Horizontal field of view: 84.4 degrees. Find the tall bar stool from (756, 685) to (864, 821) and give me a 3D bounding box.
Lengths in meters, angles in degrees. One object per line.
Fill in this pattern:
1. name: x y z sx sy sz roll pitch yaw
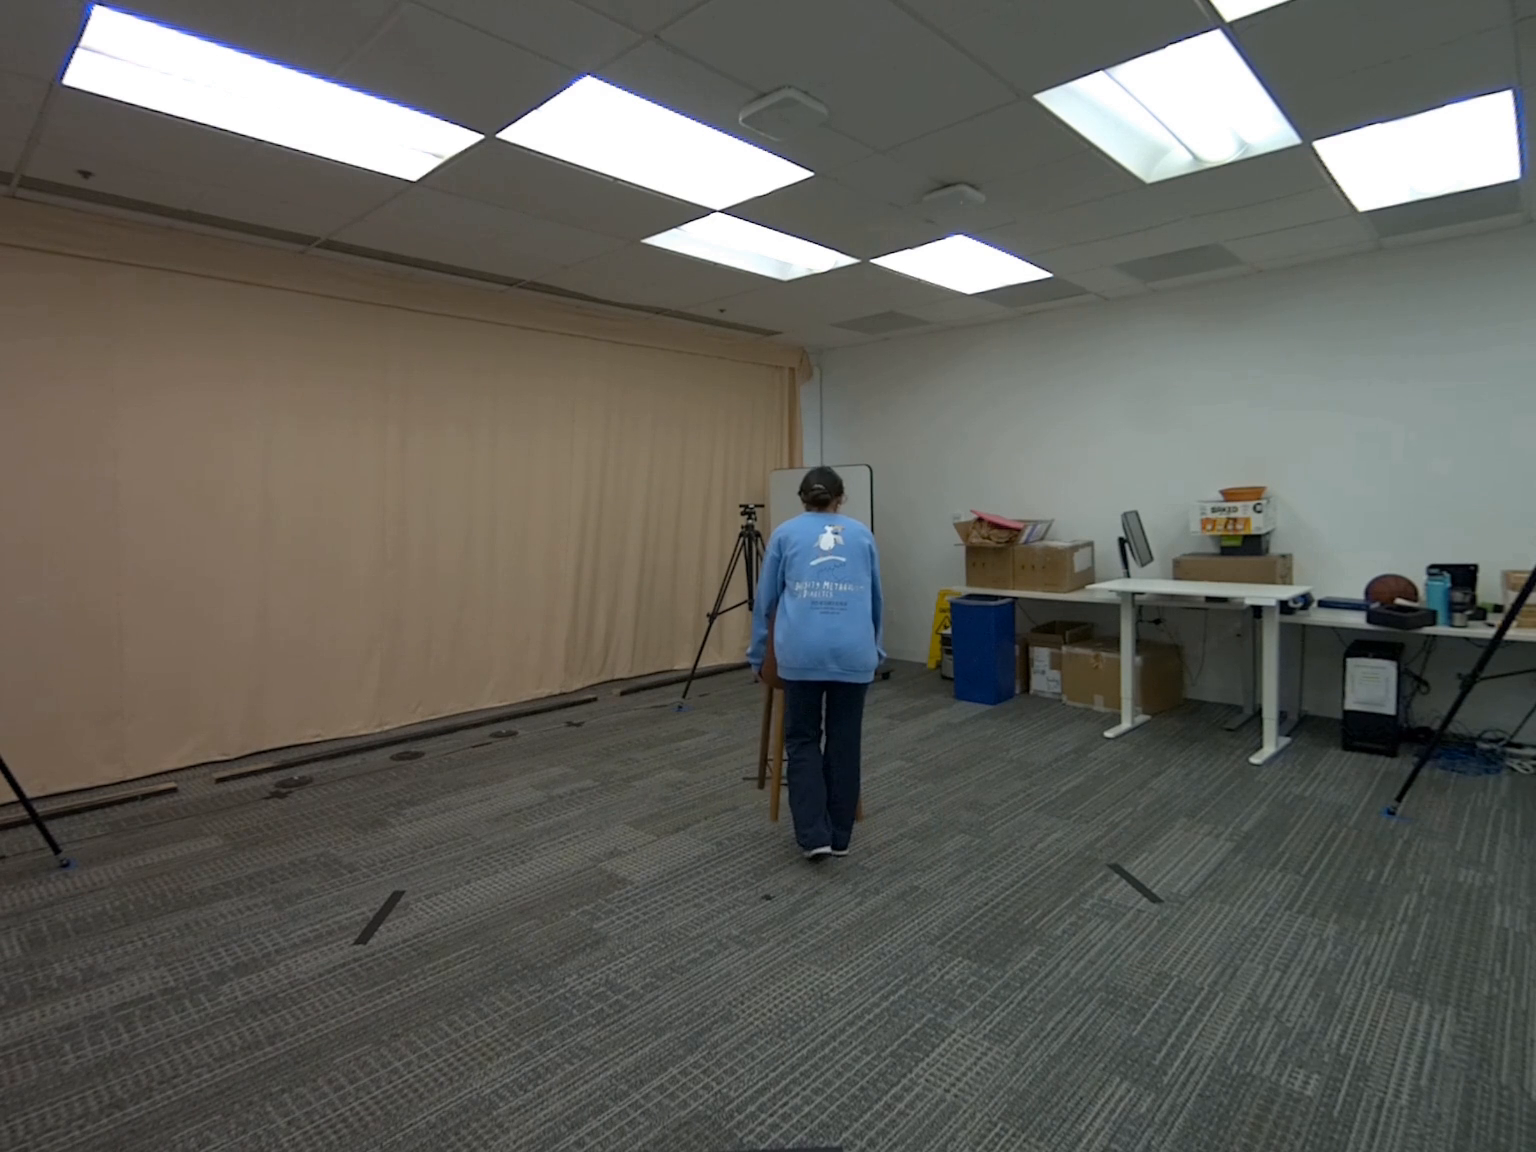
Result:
1. tall bar stool: 0.185 0.550 3.624 0.456 0.888 0.469 1 2 -2
